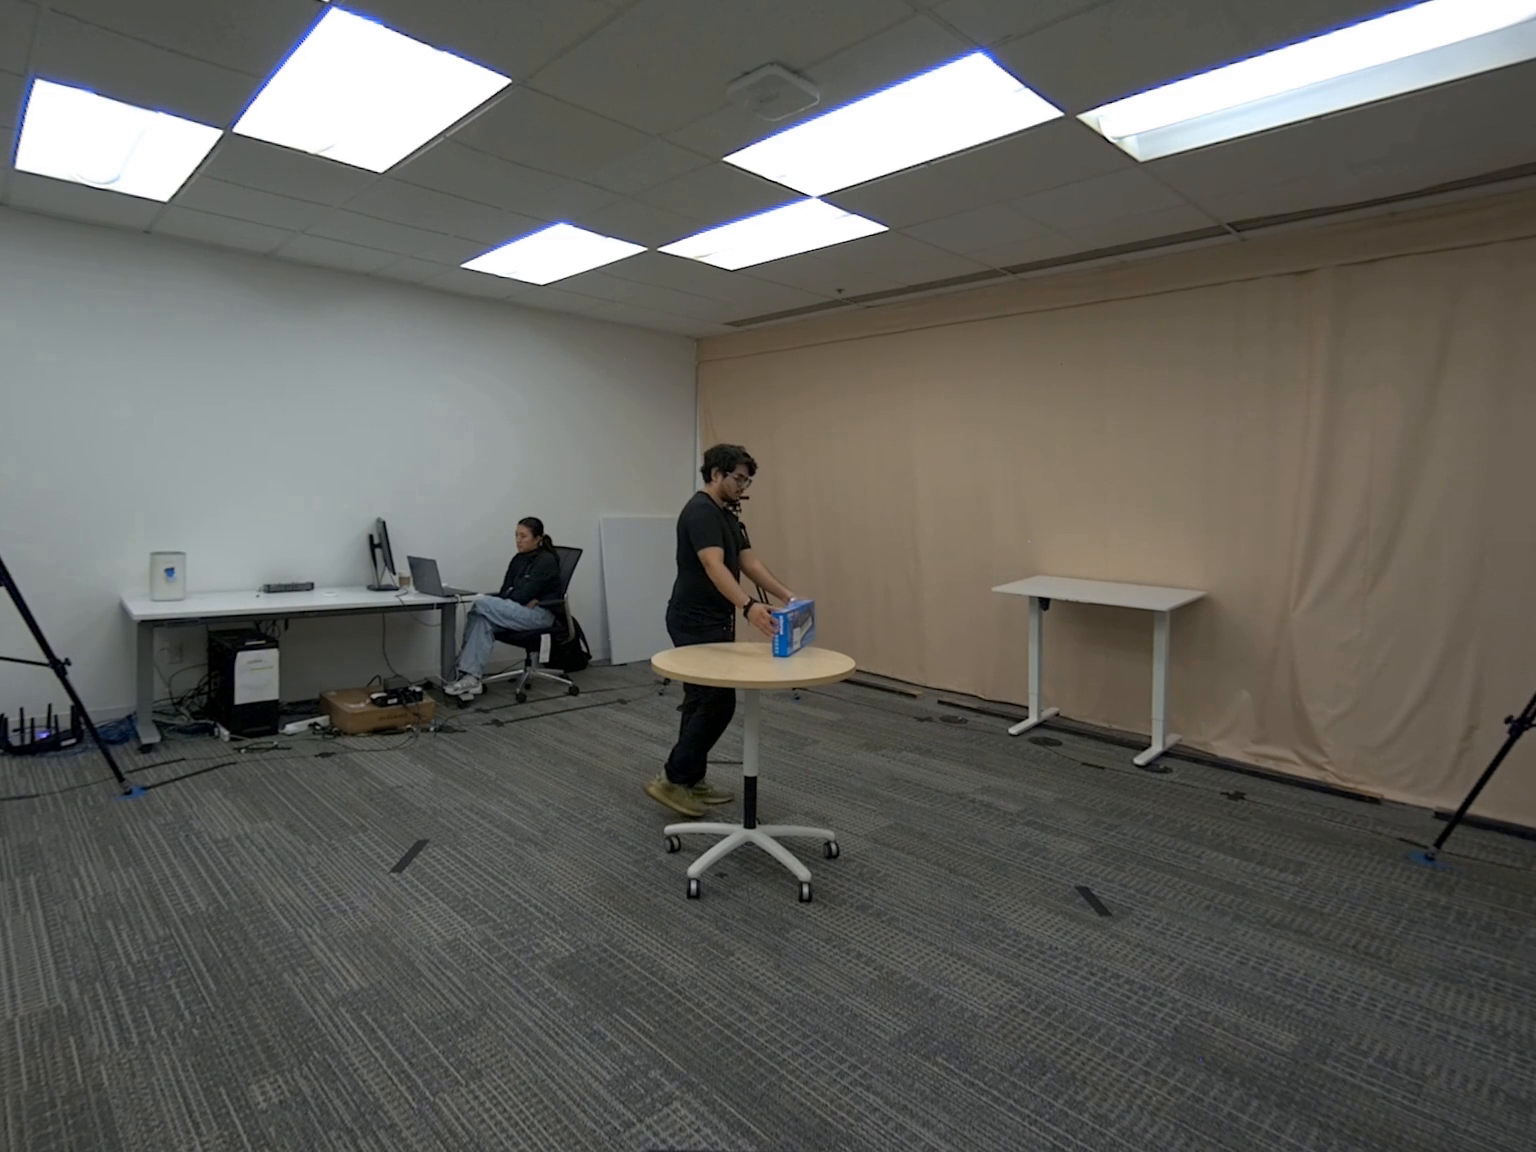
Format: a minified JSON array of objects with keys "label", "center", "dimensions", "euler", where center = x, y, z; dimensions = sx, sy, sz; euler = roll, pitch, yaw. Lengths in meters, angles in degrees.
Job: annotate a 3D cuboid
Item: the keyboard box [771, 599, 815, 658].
[{"label":"keyboard box","center":[0.100,0.211,3.432],"dimensions":[0.060,0.175,0.432],"euler":[1,5,16]}]
